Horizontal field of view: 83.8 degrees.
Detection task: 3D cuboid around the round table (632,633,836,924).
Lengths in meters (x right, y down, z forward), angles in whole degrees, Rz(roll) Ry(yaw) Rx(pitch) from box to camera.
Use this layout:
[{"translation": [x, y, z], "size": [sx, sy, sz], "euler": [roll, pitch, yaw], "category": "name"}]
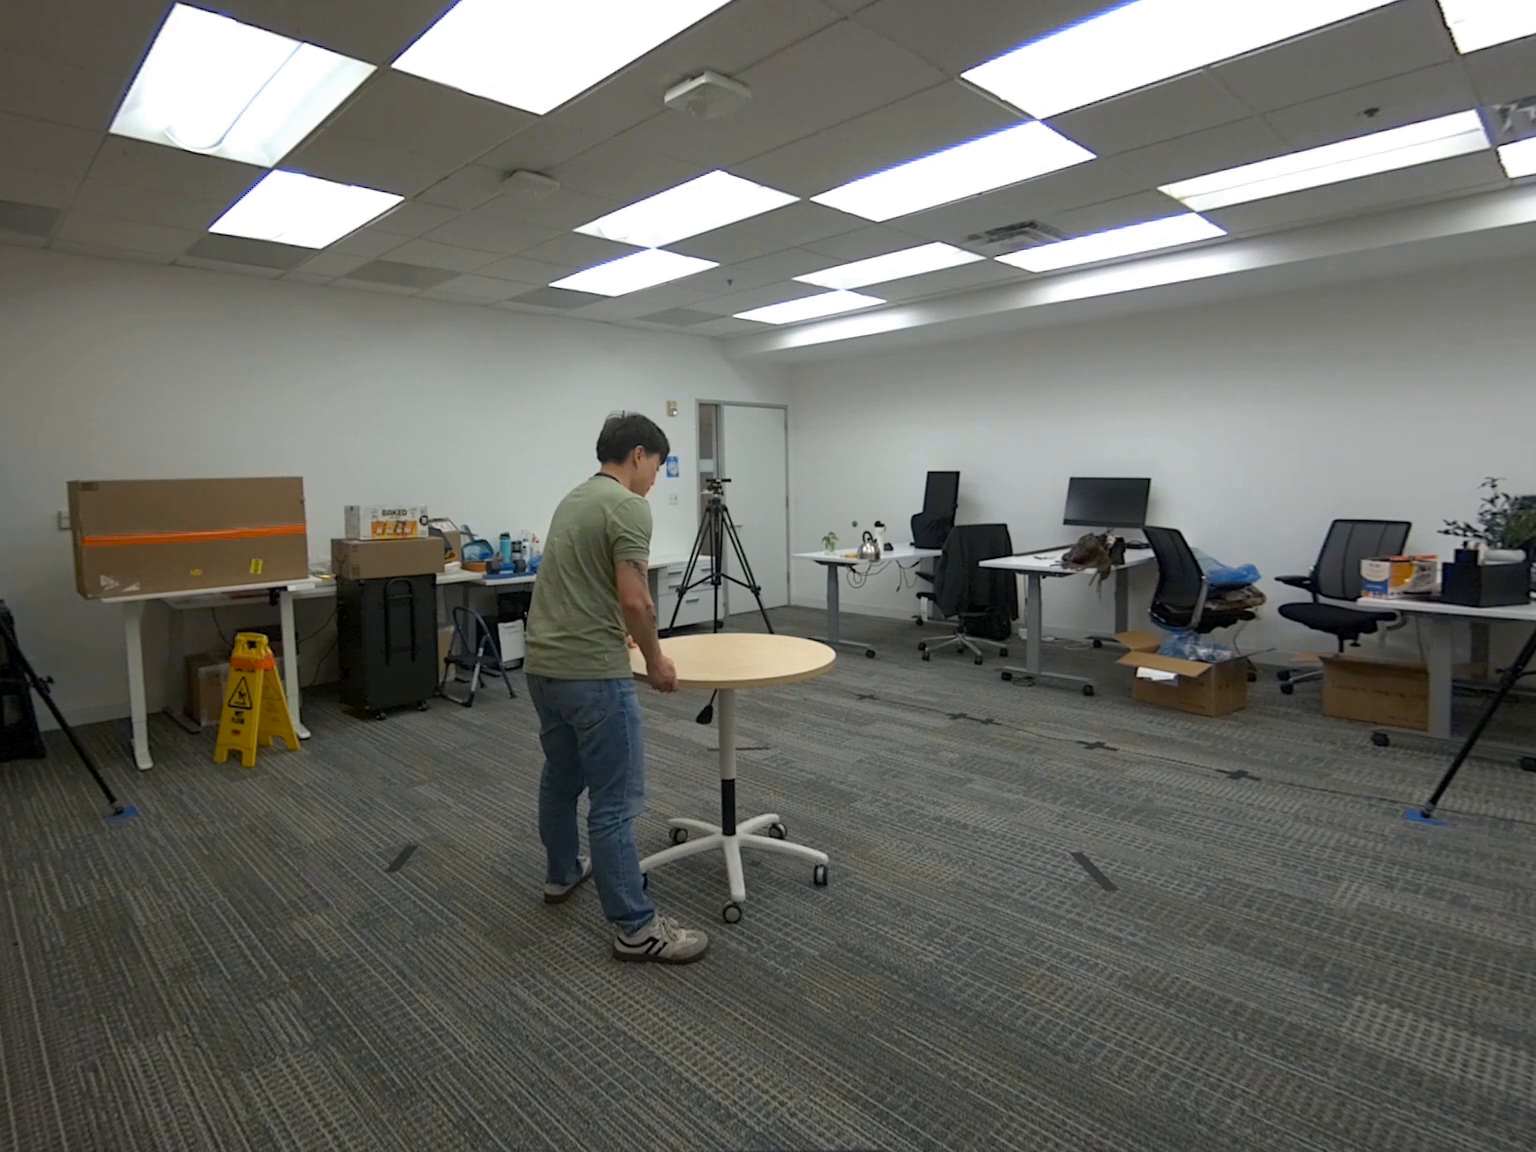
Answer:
[{"translation": [-0.143, 0.665, 3.014], "size": [0.763, 0.791, 0.768], "euler": [-1, 5, -2], "category": "round table"}]
